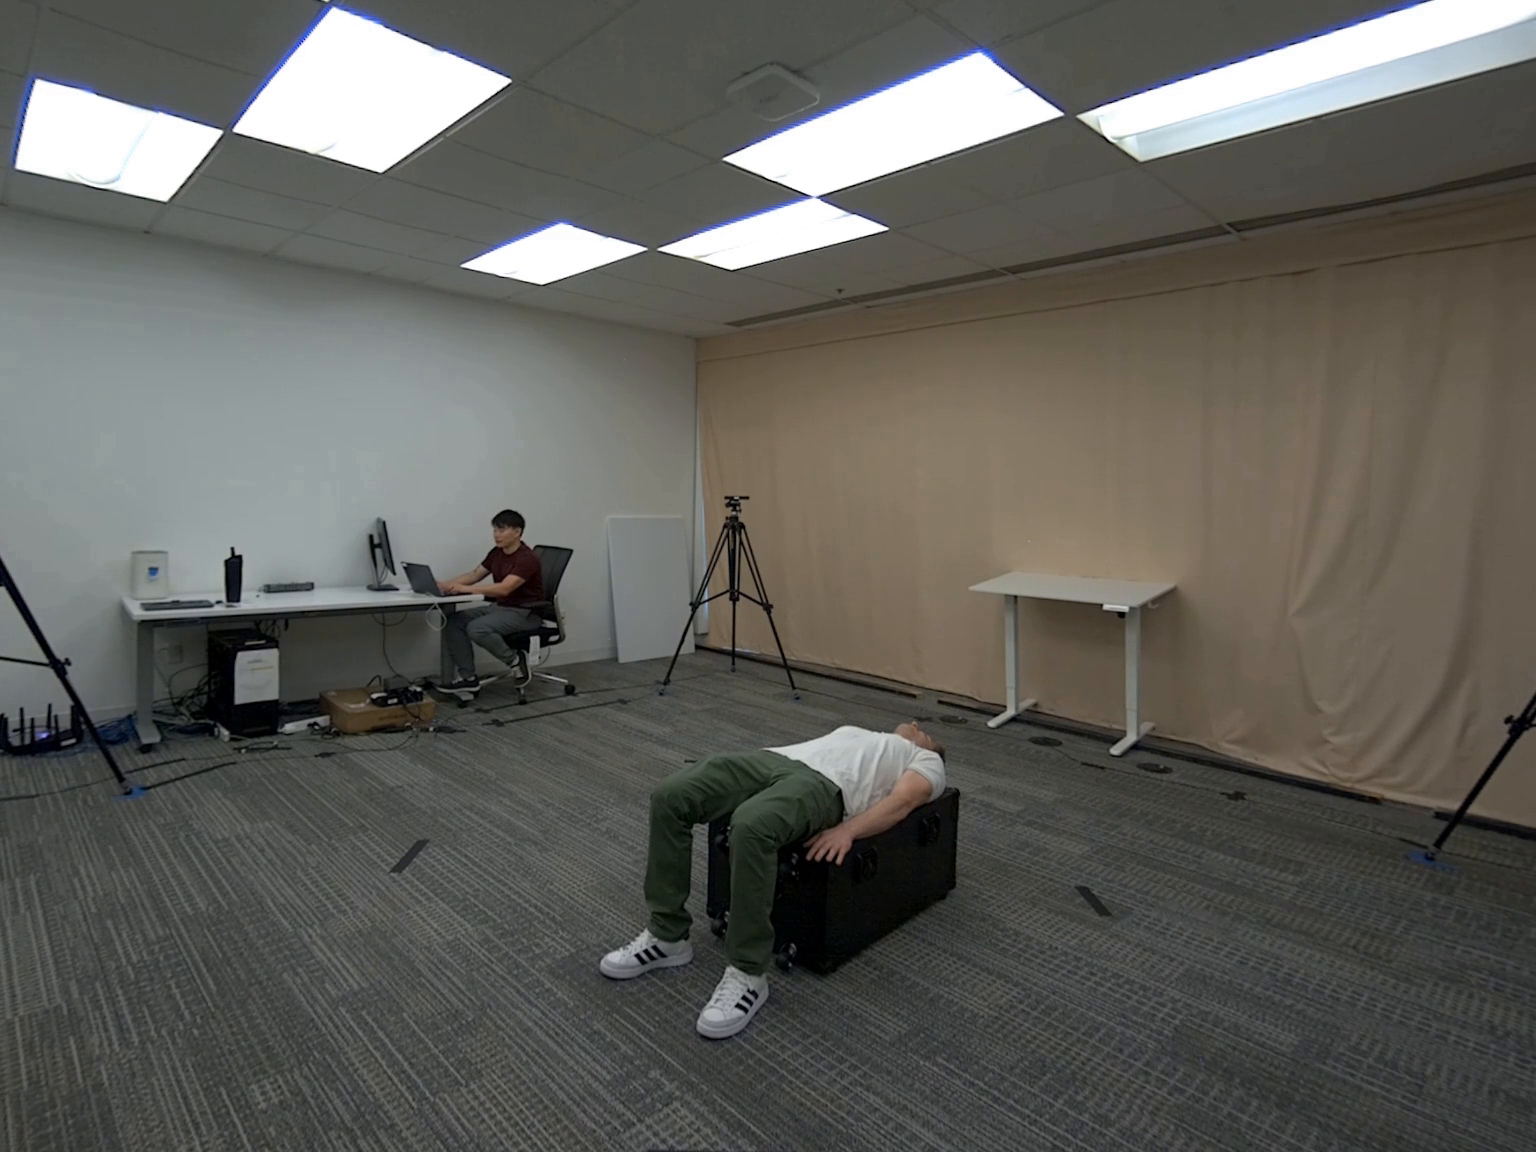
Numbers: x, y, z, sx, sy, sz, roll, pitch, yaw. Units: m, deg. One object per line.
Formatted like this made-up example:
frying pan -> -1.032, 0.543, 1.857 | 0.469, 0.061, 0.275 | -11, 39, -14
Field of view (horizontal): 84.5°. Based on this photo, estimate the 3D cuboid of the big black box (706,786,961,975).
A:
big black box -> 0.204, 0.948, 2.843 | 0.537, 0.384, 0.849 | 6, 8, 42
